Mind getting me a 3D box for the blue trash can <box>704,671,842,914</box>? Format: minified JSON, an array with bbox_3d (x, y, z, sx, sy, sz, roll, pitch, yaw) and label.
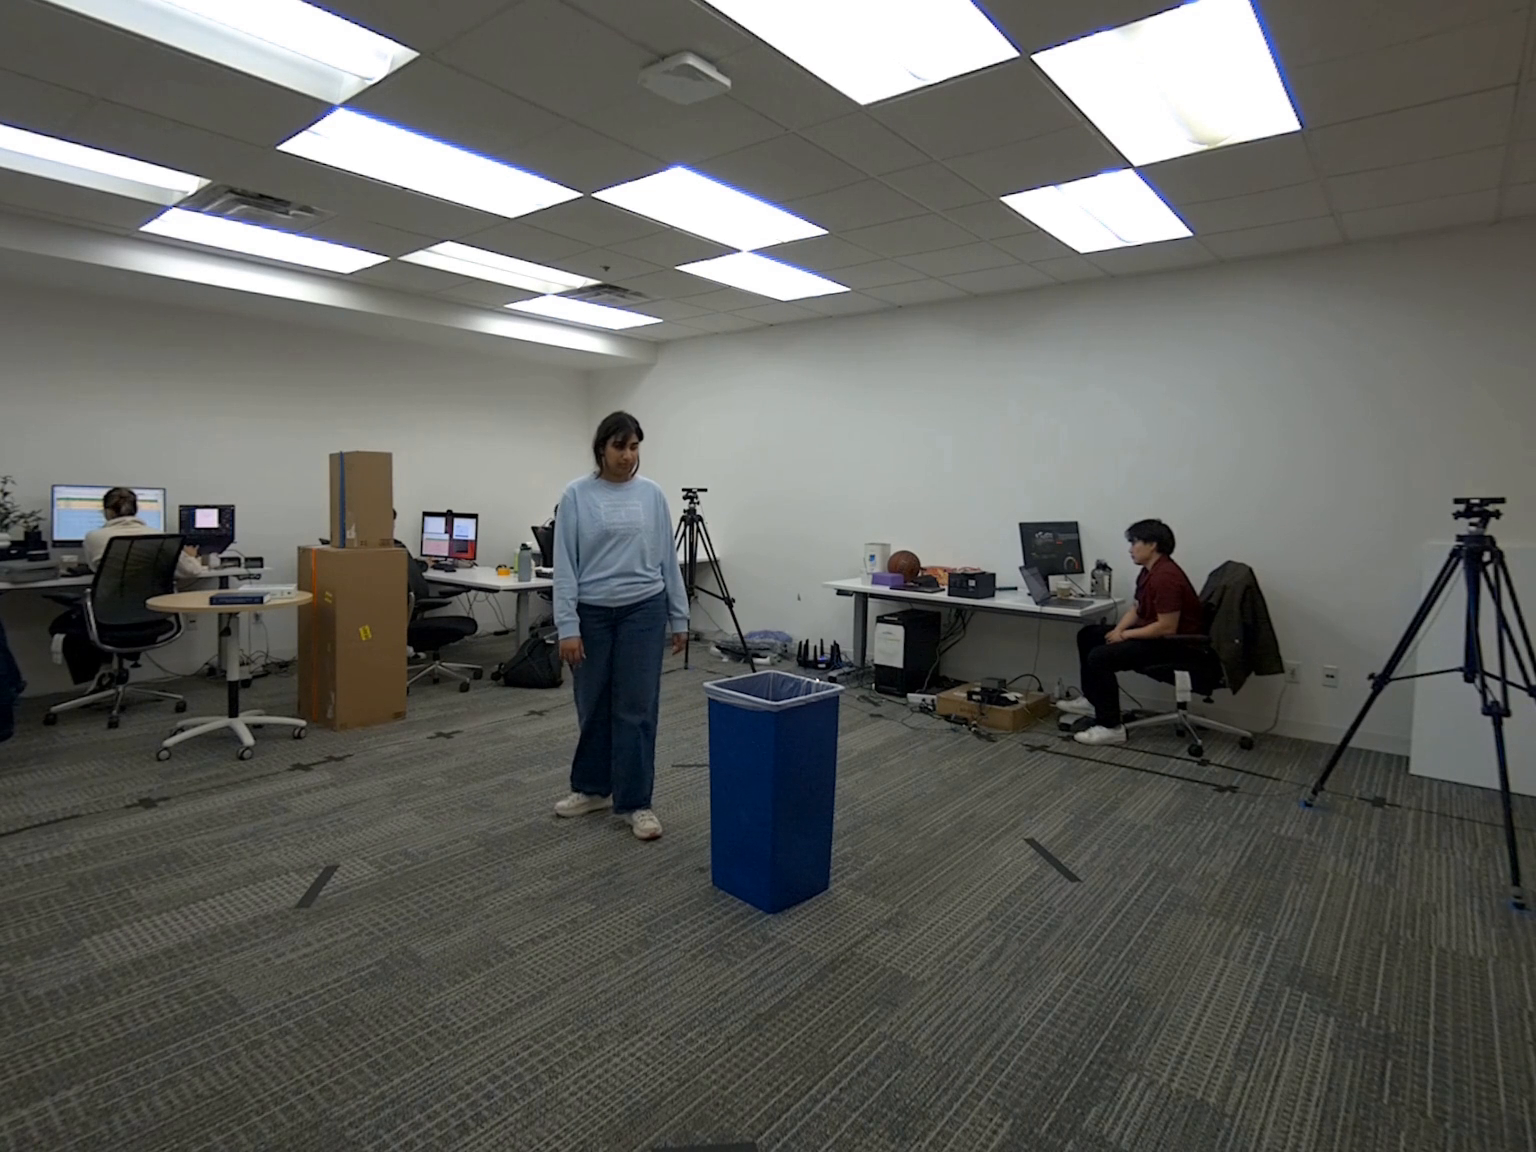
[{"bbox_3d":[0.004,0.730,2.965,0.362,0.712,0.391,-2,4,-45],"label":"blue trash can"}]
